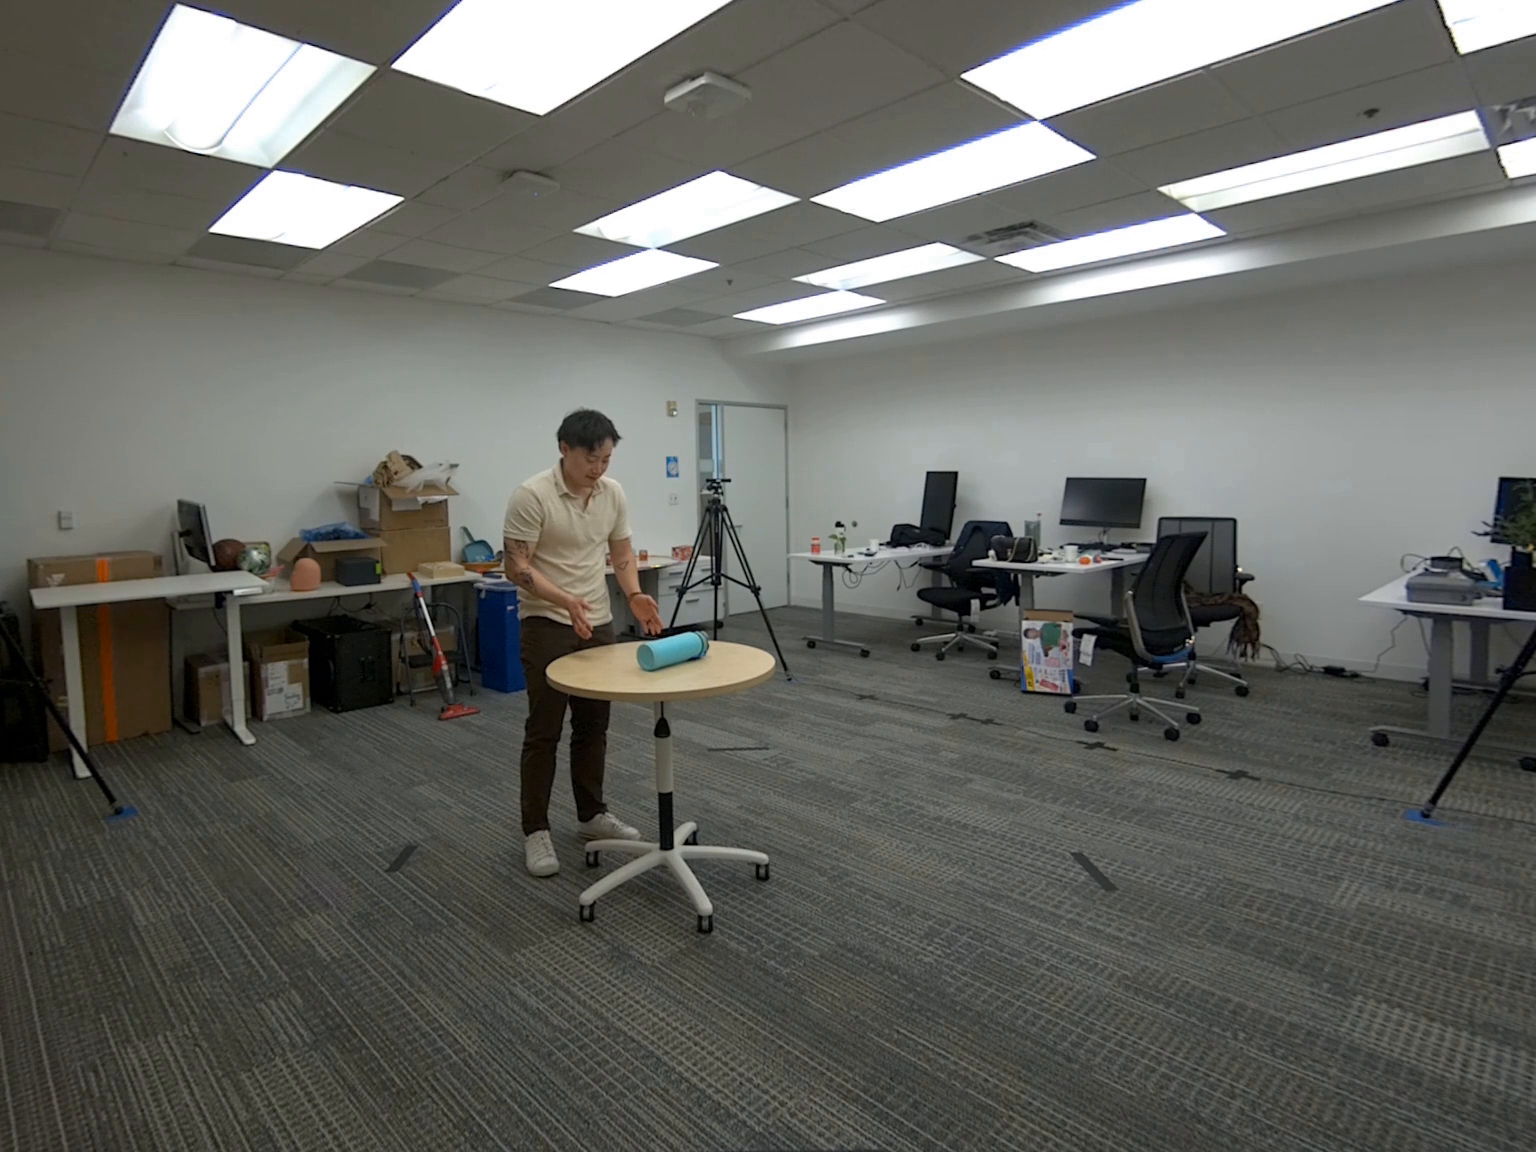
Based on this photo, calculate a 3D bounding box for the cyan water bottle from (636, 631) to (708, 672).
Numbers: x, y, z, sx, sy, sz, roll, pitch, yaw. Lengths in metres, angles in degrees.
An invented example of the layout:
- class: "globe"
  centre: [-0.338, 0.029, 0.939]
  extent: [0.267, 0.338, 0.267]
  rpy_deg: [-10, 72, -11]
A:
- class: "cyan water bottle"
  centre: [-0.307, 0.246, 2.871]
  extent: [0.095, 0.092, 0.276]
  rpy_deg: [3, 9, 40]
